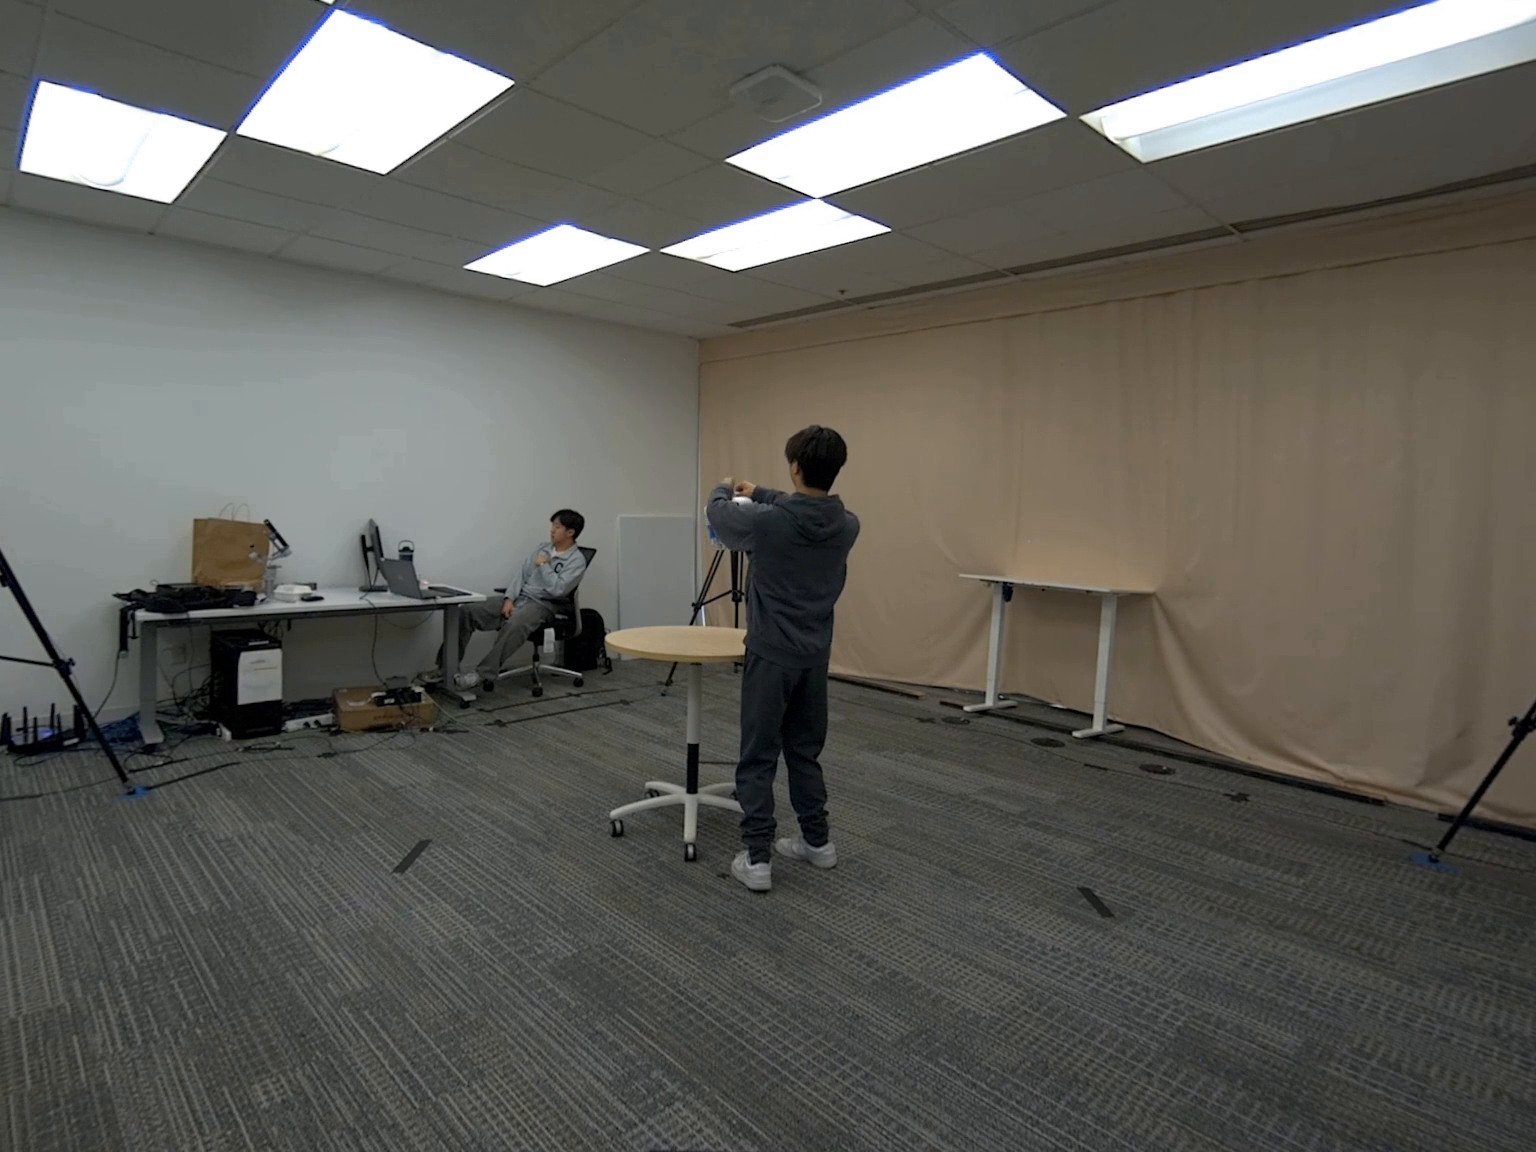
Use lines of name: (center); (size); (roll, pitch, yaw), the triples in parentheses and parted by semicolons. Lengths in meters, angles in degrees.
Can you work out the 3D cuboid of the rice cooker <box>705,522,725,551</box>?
rice cooker: (-0.157, -0.232, 3.526); (0.220, 0.232, 0.218); (-6, 6, 0)
